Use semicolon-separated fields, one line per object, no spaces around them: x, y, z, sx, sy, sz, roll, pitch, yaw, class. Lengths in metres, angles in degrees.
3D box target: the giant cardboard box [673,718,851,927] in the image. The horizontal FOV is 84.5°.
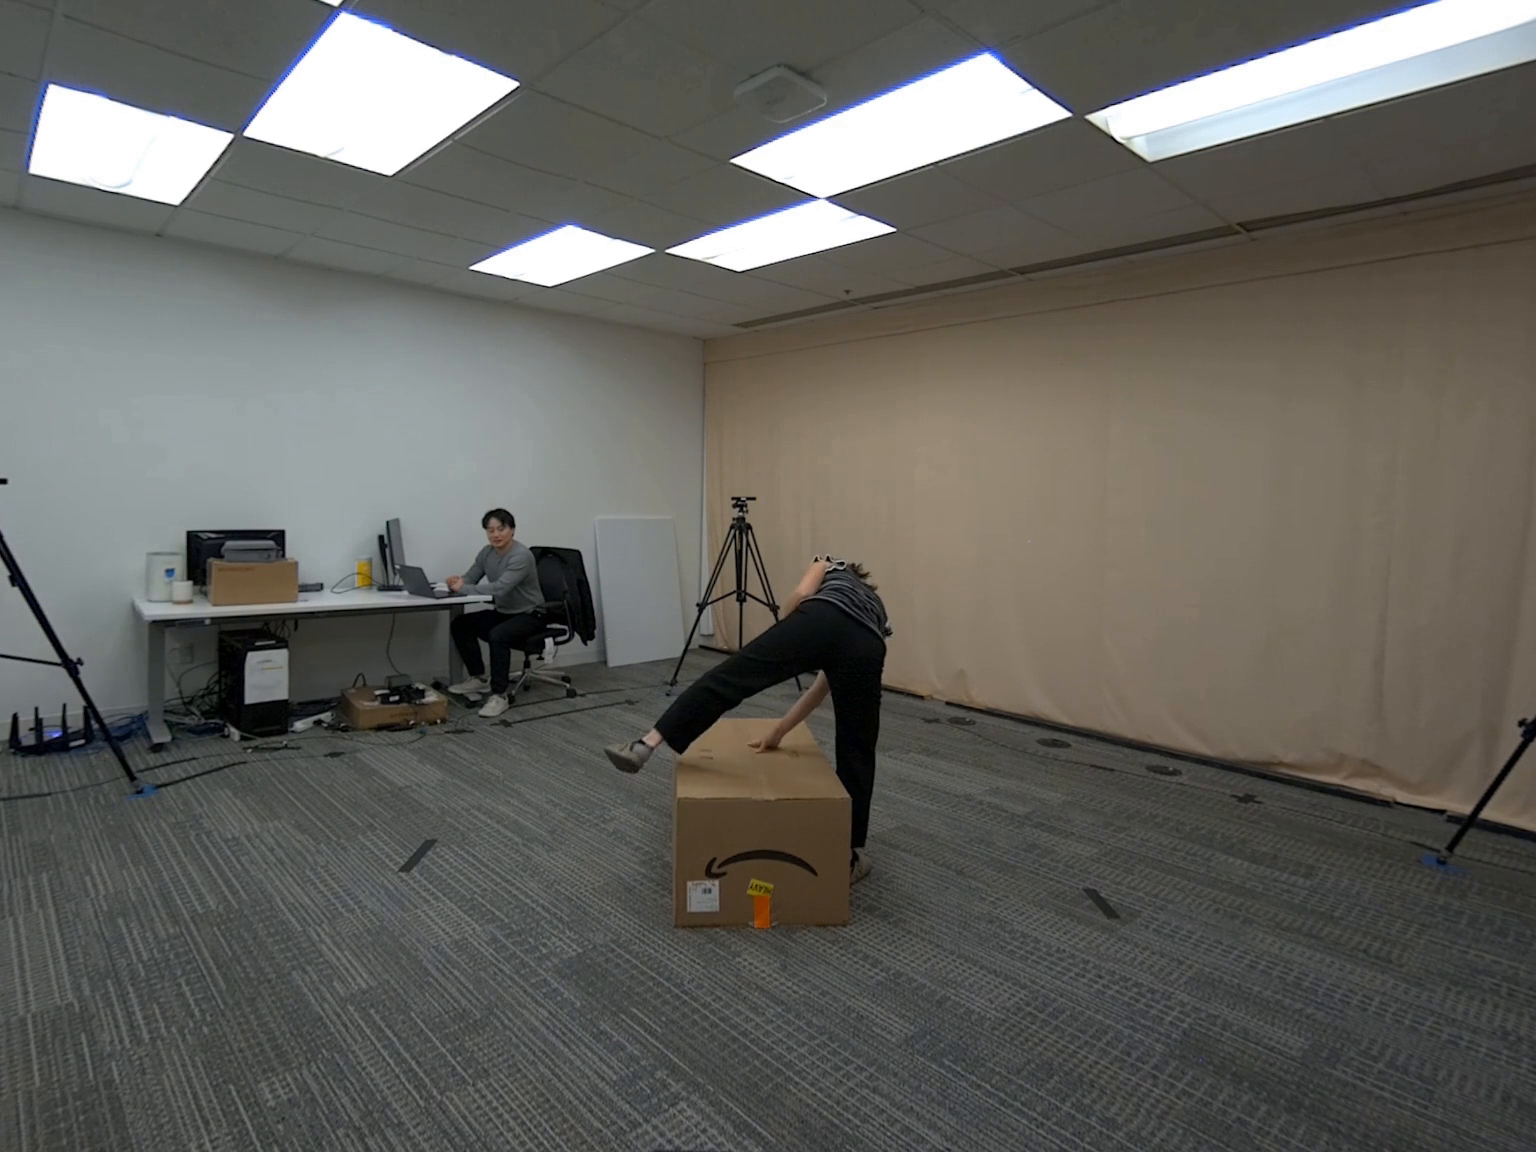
-0.083;0.888;3.232;0.575;0.425;1.032;1;4;-6;giant cardboard box
